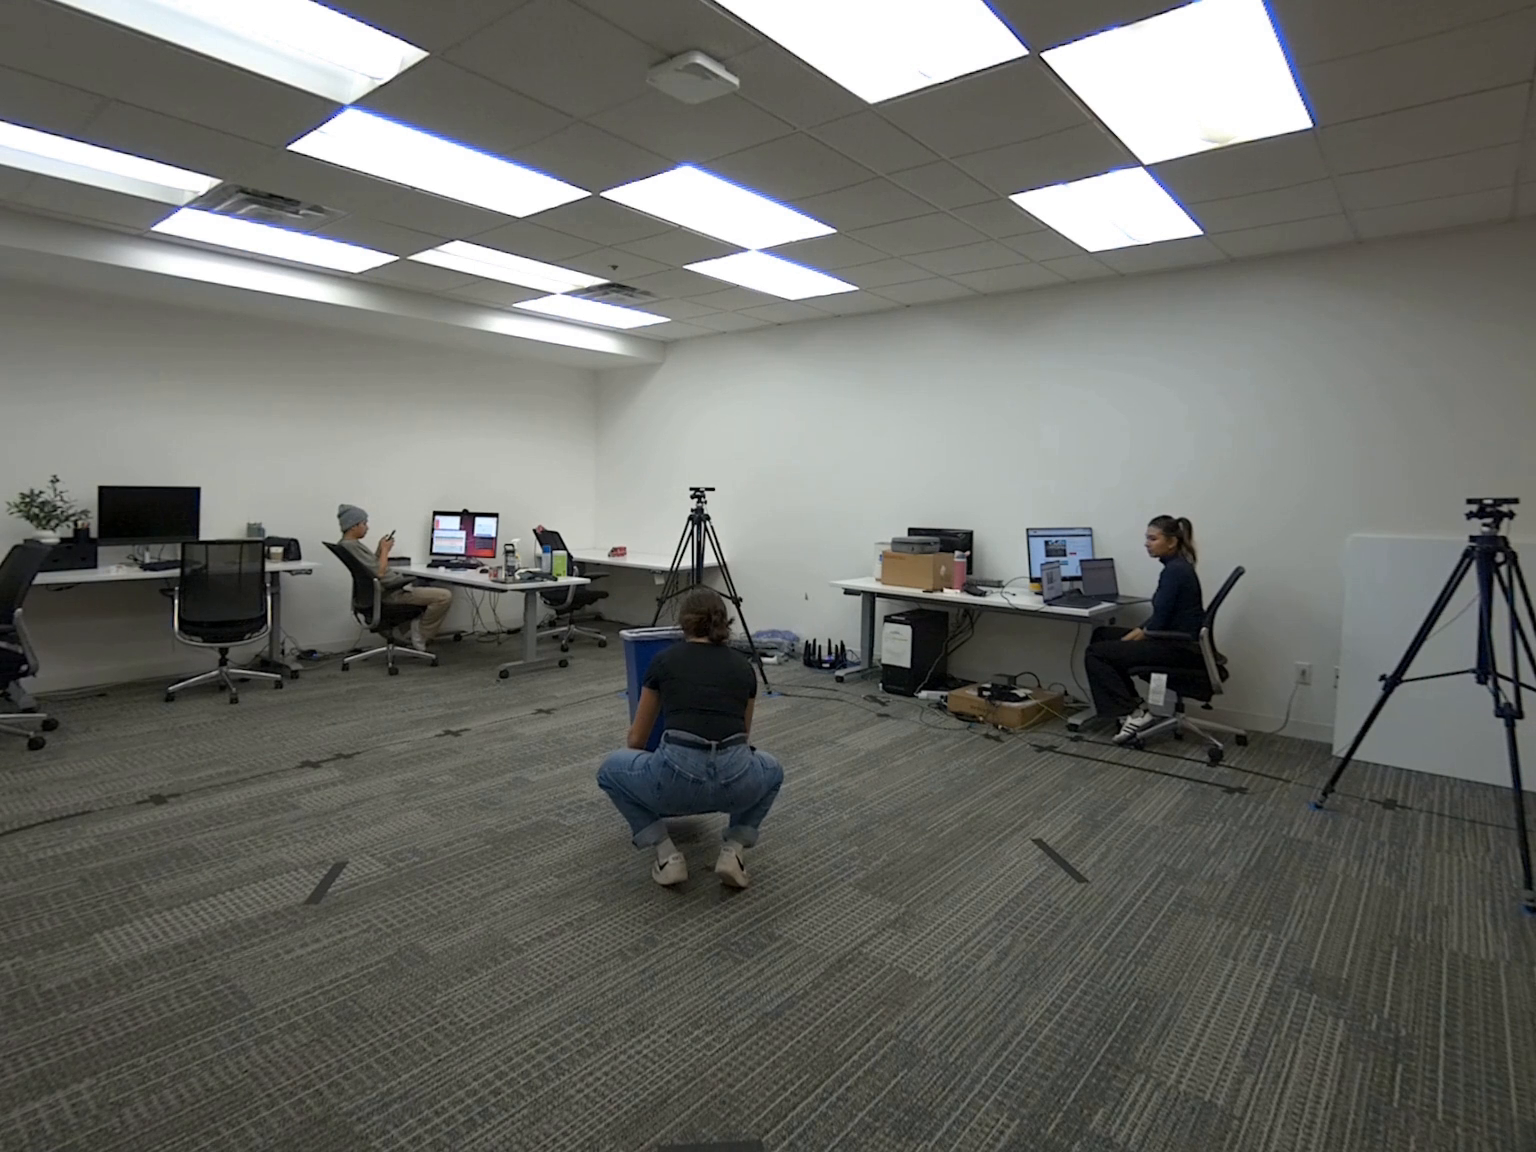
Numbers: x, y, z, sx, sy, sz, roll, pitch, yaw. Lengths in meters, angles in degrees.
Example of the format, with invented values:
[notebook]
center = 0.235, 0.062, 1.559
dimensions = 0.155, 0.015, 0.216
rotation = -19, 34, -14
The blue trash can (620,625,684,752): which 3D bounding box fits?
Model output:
[blue trash can]
center = -0.404, 0.569, 3.463
dimensions = 0.368, 0.716, 0.383
rotation = -2, -3, -16
